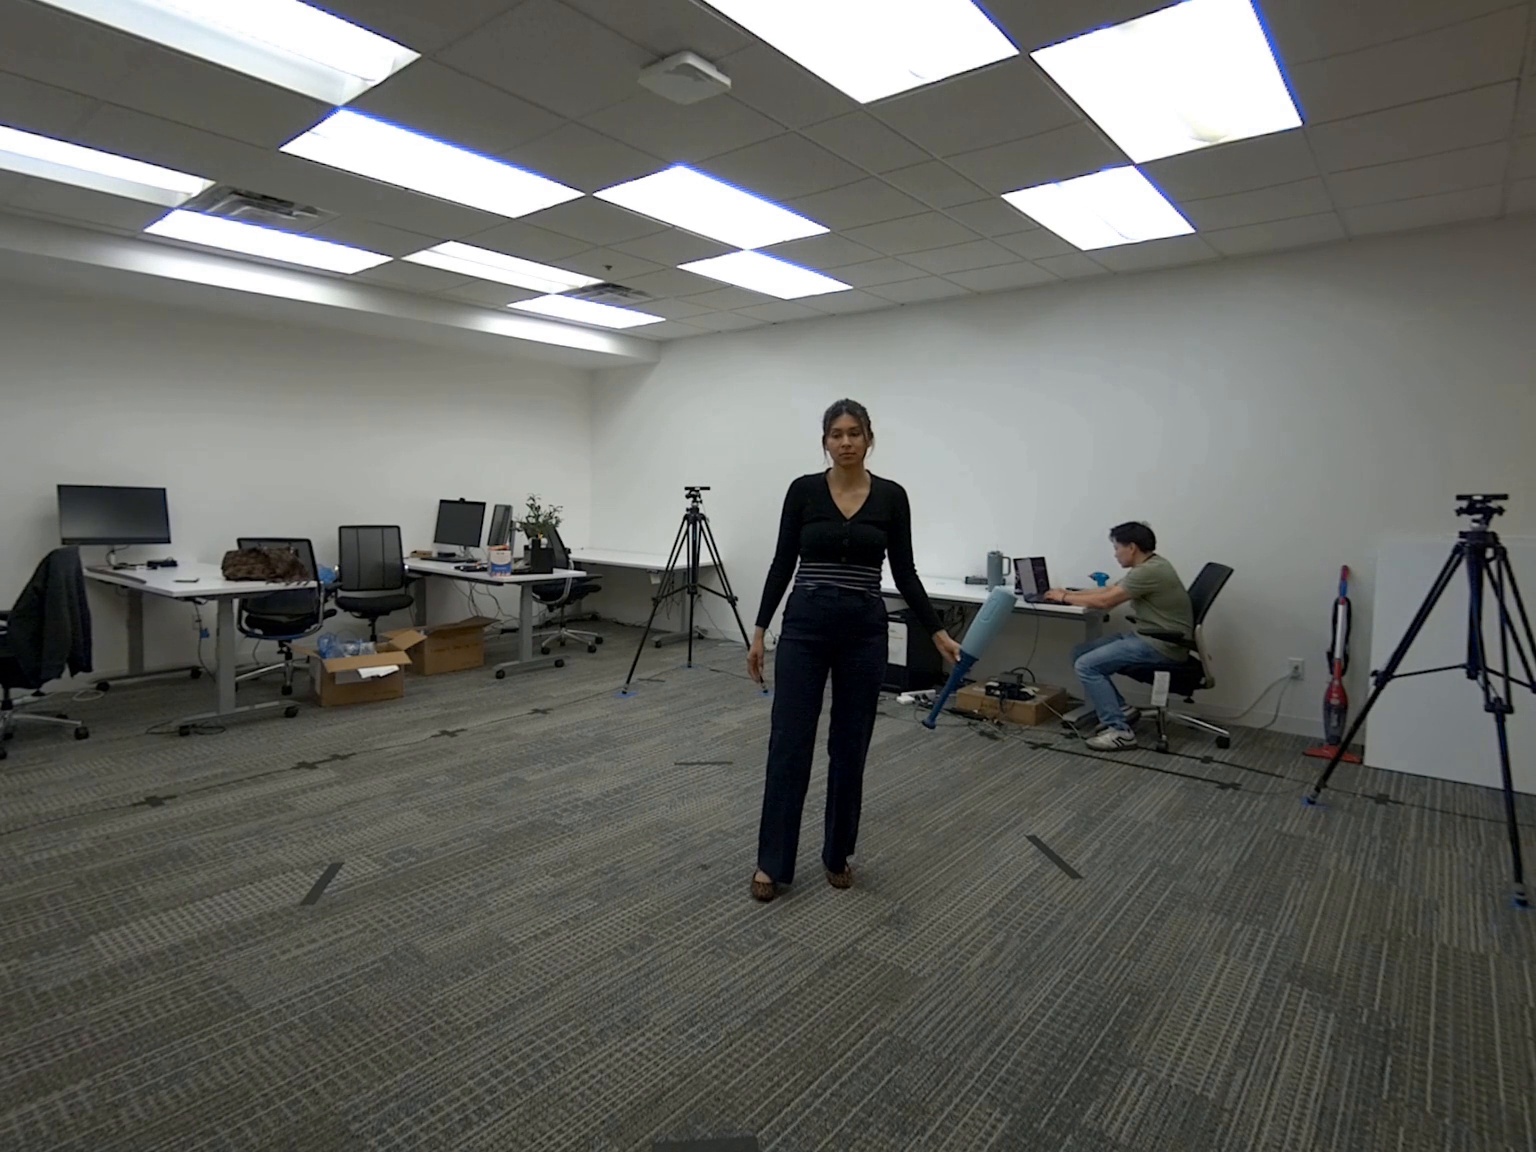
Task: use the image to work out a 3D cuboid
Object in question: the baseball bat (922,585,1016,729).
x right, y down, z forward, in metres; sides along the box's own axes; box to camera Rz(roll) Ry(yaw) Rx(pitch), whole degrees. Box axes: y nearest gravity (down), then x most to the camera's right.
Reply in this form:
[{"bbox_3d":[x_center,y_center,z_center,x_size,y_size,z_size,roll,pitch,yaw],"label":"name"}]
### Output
[{"bbox_3d":[0.674,0.275,2.881,0.088,0.542,0.090,28,6,-6],"label":"baseball bat"}]
